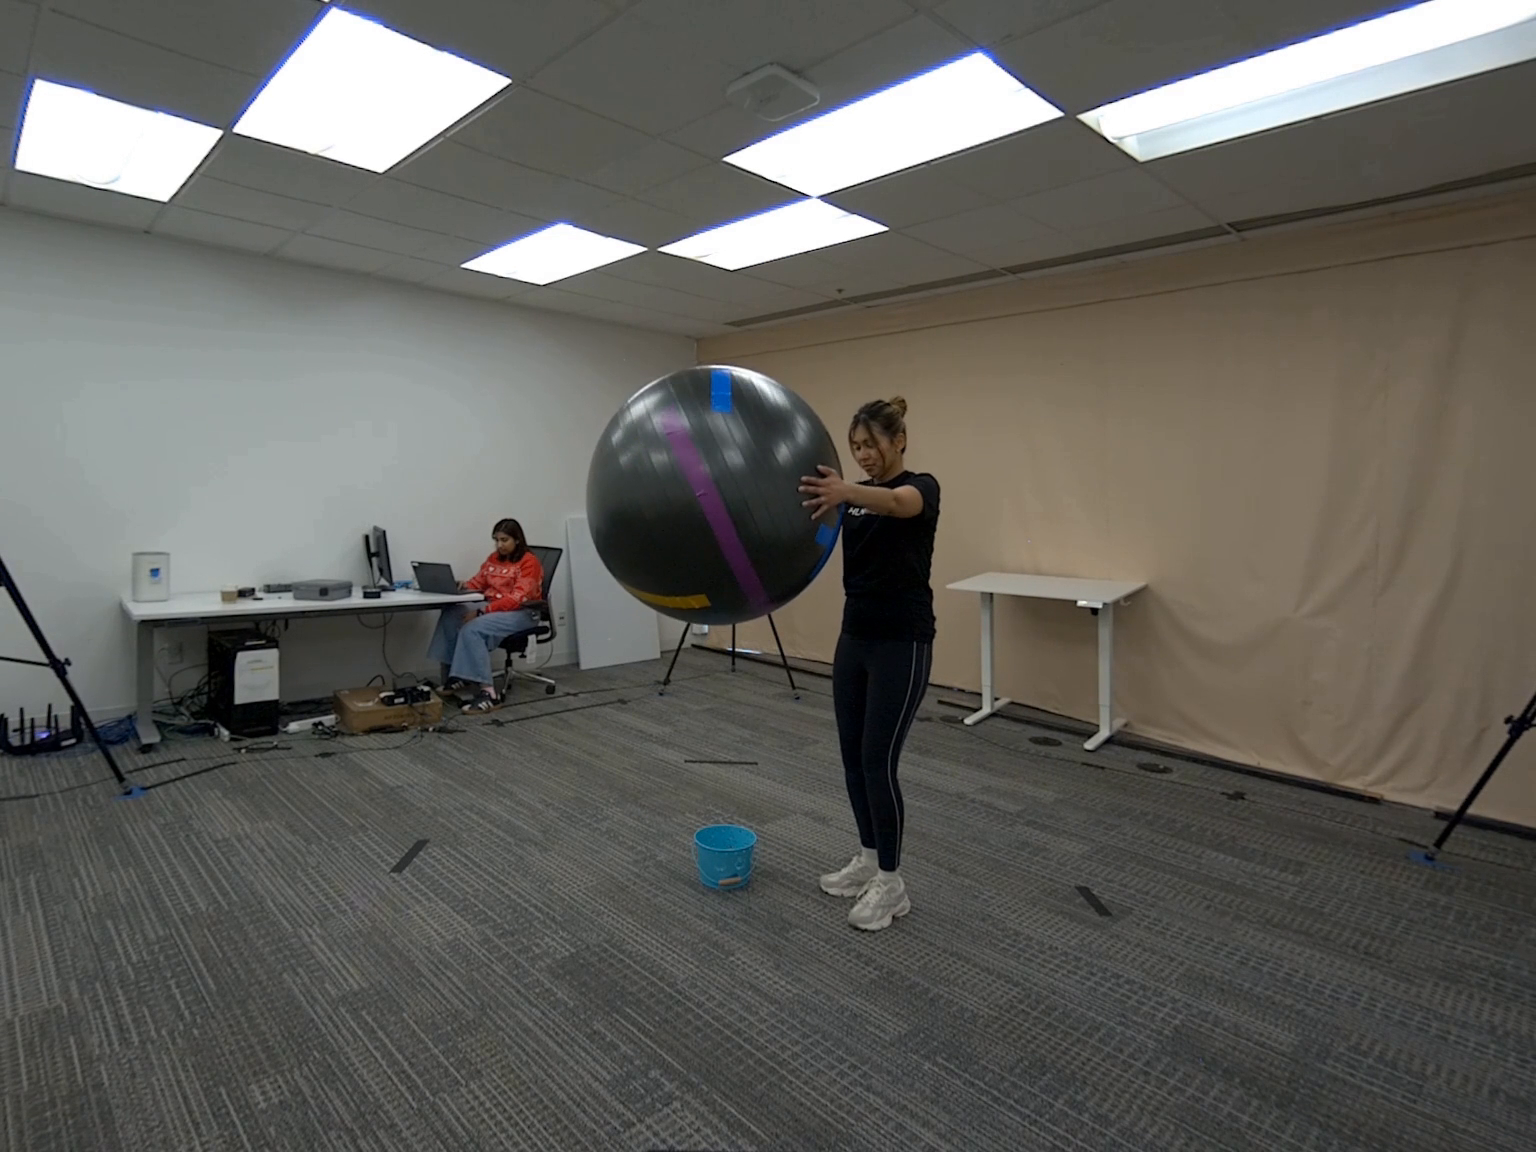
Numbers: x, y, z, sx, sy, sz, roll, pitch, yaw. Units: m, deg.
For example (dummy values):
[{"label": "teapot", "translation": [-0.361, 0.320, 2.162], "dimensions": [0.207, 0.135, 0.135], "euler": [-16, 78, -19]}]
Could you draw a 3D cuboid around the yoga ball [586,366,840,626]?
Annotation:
[{"label": "yoga ball", "translation": [-0.157, -0.219, 2.491], "dimensions": [0.757, 0.756, 0.761], "euler": [1, 4, -1]}]
